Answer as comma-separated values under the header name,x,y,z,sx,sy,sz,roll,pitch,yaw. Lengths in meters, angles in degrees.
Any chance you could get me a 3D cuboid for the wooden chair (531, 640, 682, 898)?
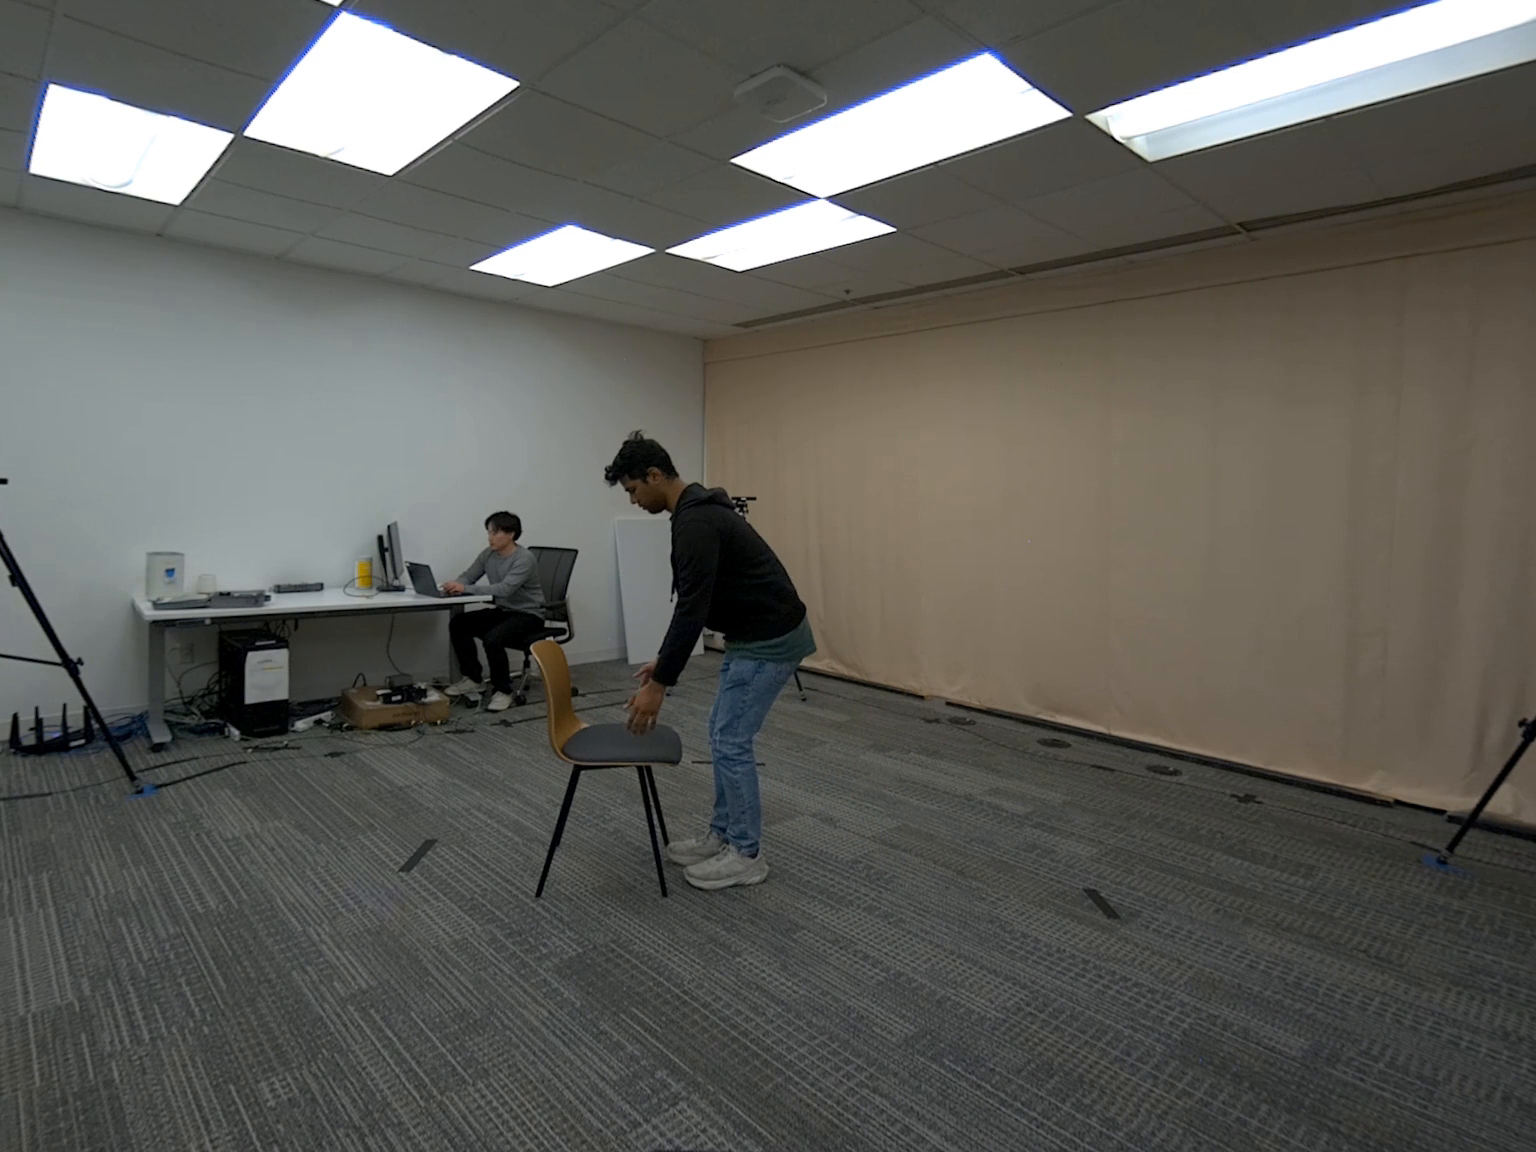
name,x,y,z,sx,sy,sz,roll,pitch,yaw
wooden chair,-0.581,0.665,3.102,0.522,0.875,0.481,-3,3,-4
